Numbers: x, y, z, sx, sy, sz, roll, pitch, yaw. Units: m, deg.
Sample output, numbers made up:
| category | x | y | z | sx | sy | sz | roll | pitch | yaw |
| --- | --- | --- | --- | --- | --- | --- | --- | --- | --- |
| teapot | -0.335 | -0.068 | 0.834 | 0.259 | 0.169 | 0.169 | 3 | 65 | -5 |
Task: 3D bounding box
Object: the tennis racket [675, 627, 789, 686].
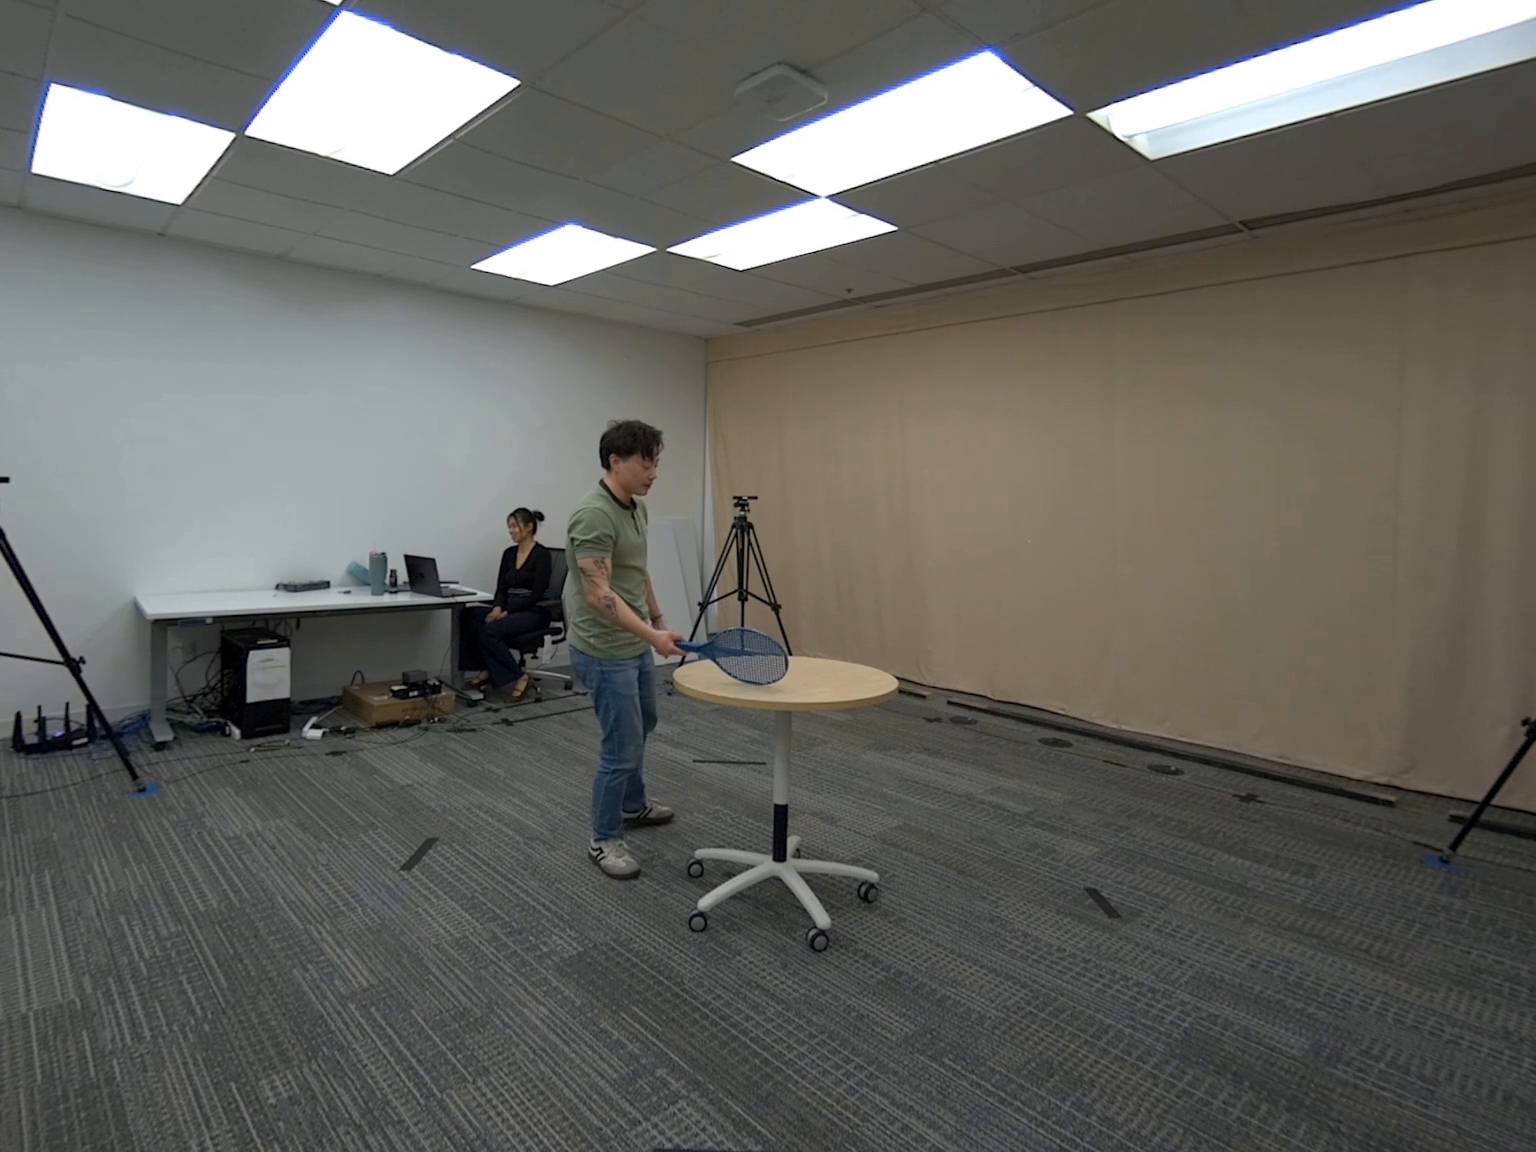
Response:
| category | x | y | z | sx | sy | sz | roll | pitch | yaw |
| --- | --- | --- | --- | --- | --- | --- | --- | --- | --- |
| tennis racket | -0.135 | 0.253 | 2.720 | 0.440 | 0.209 | 0.032 | 6 | 31 | 21 |
